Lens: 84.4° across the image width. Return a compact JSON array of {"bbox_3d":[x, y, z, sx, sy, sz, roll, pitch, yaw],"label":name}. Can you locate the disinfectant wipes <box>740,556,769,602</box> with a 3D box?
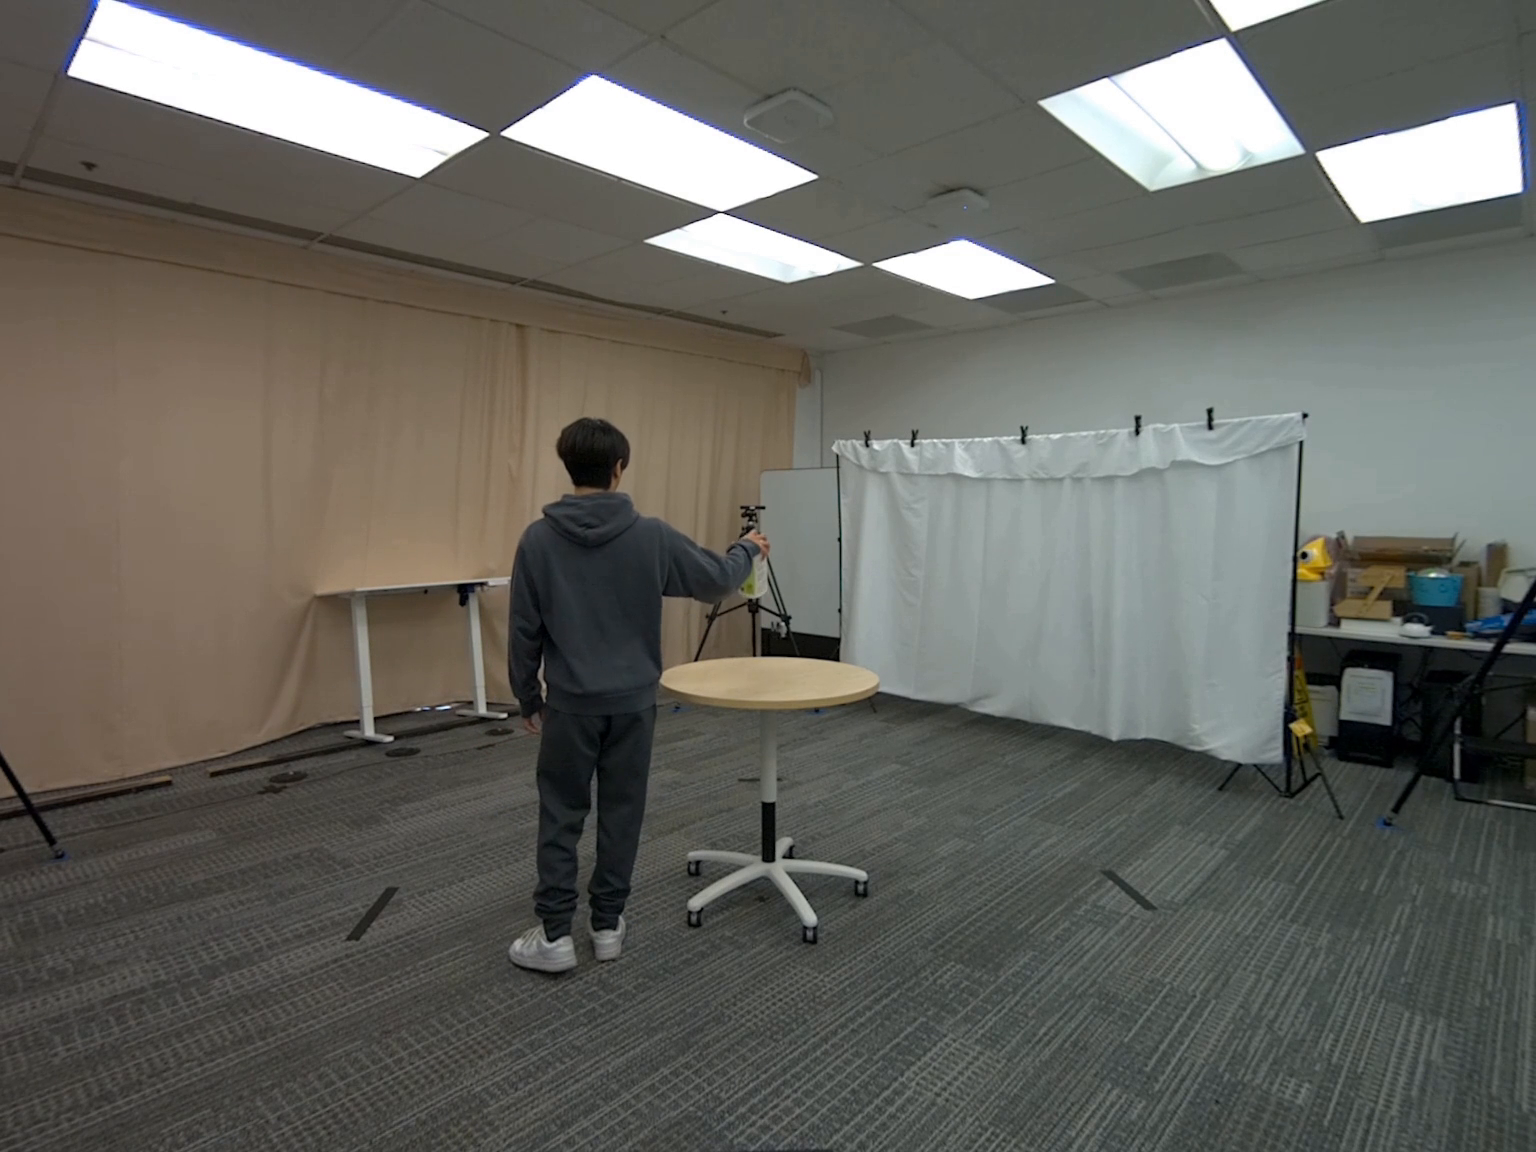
[{"bbox_3d":[-0.059,-0.033,3.052,0.118,0.213,0.120,-3,38,0],"label":"disinfectant wipes"}]
